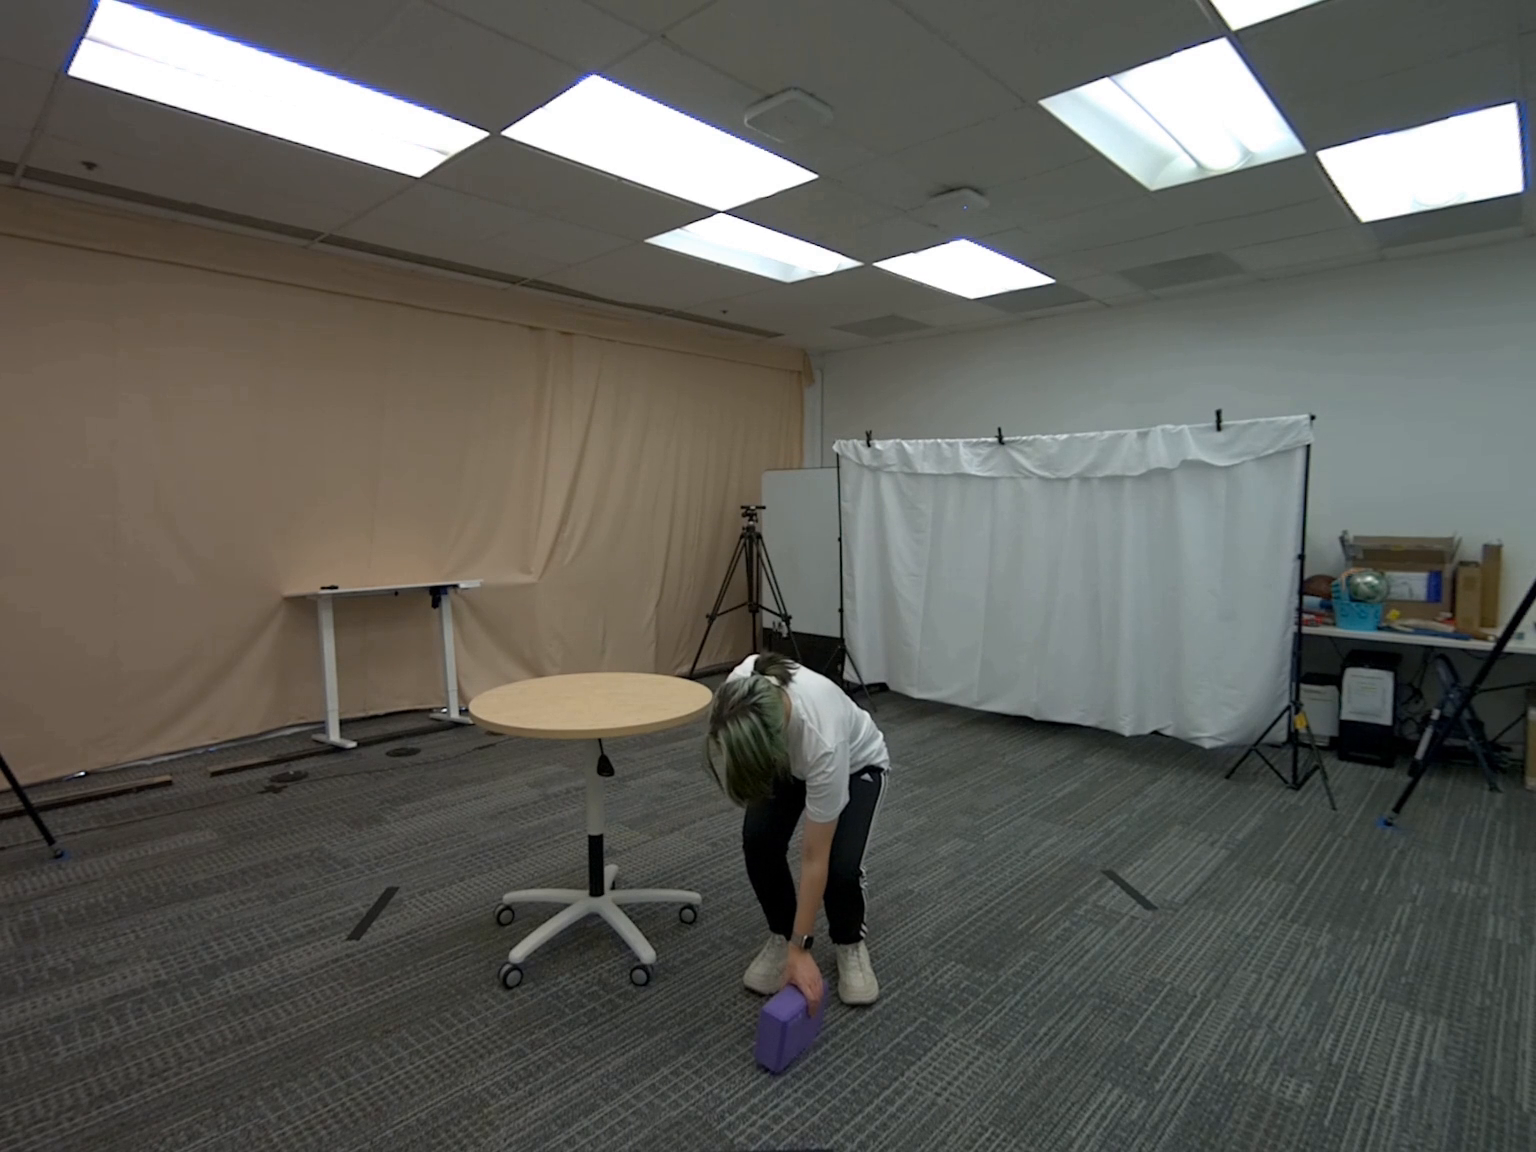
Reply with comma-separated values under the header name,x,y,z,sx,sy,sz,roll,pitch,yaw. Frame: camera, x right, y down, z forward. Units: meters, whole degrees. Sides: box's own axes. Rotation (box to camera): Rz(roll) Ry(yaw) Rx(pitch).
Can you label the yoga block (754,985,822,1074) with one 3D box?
name,x,y,z,sx,sy,sz,roll,pitch,yaw
yoga block,0.061,1.119,2.149,0.079,0.148,0.223,11,10,33
